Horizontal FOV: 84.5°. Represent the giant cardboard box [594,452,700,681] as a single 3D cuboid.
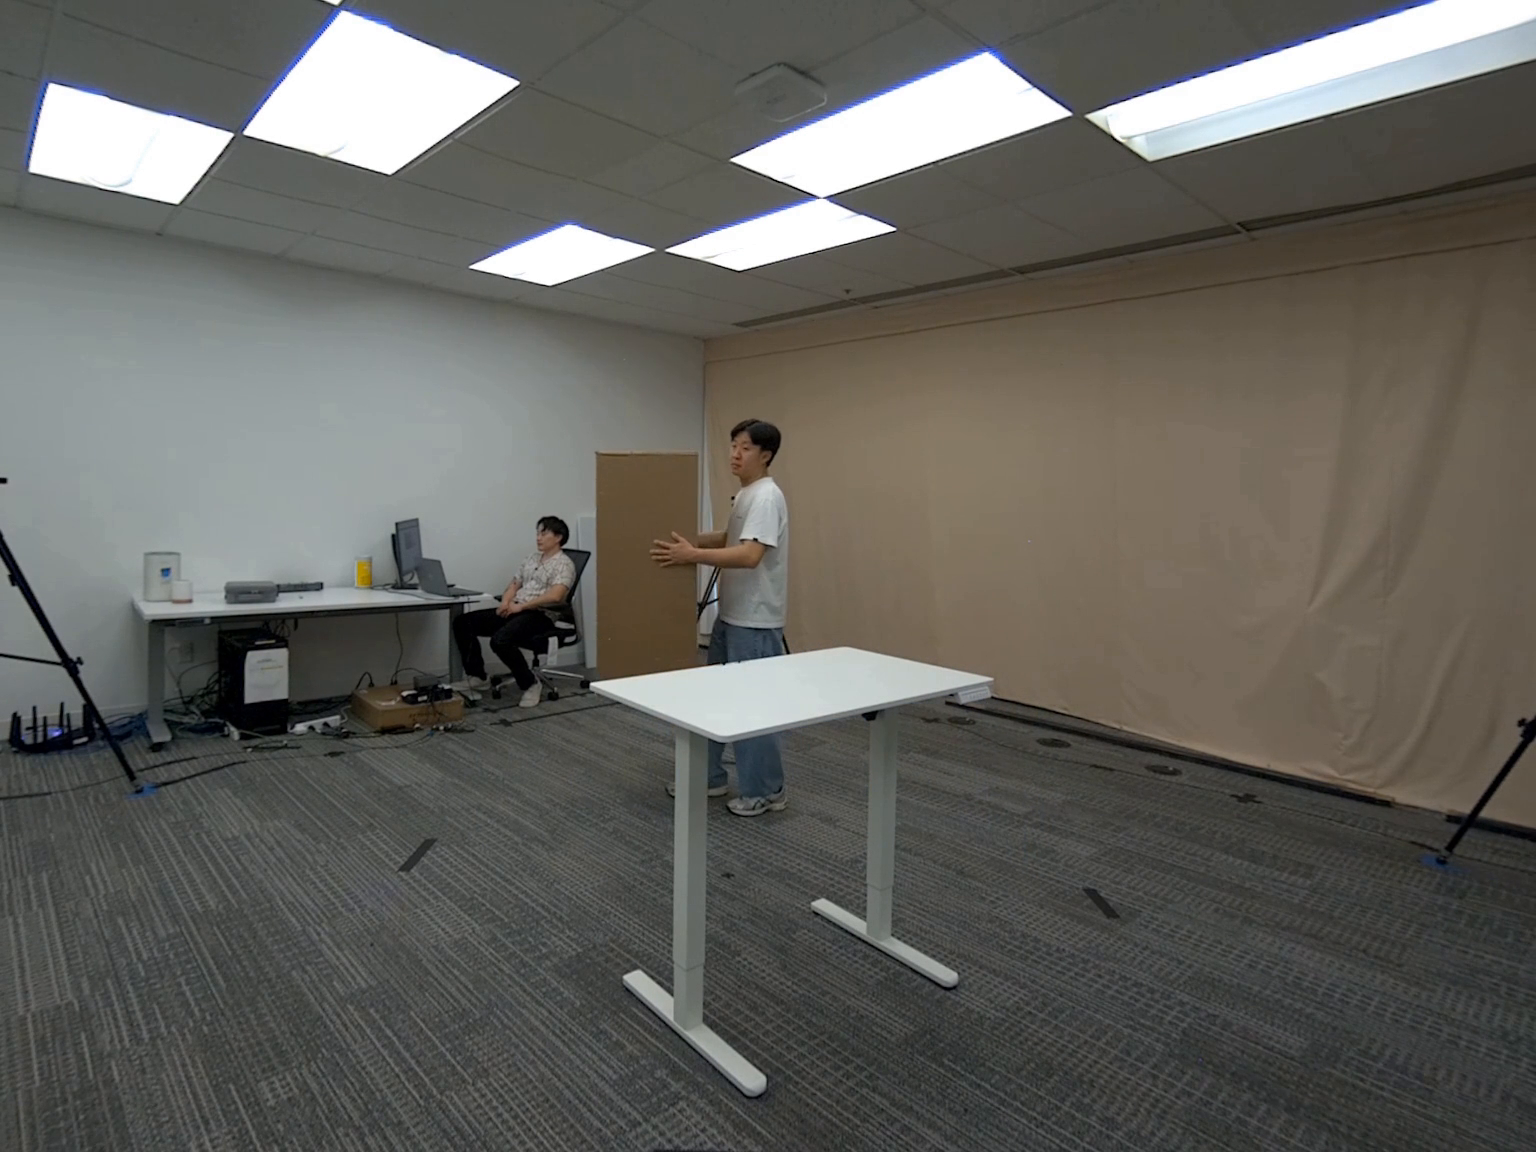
[{"bbox_3d":[-0.539,-0.042,3.765,0.424,1.022,0.582,1,5,-6],"label":"giant cardboard box"}]
